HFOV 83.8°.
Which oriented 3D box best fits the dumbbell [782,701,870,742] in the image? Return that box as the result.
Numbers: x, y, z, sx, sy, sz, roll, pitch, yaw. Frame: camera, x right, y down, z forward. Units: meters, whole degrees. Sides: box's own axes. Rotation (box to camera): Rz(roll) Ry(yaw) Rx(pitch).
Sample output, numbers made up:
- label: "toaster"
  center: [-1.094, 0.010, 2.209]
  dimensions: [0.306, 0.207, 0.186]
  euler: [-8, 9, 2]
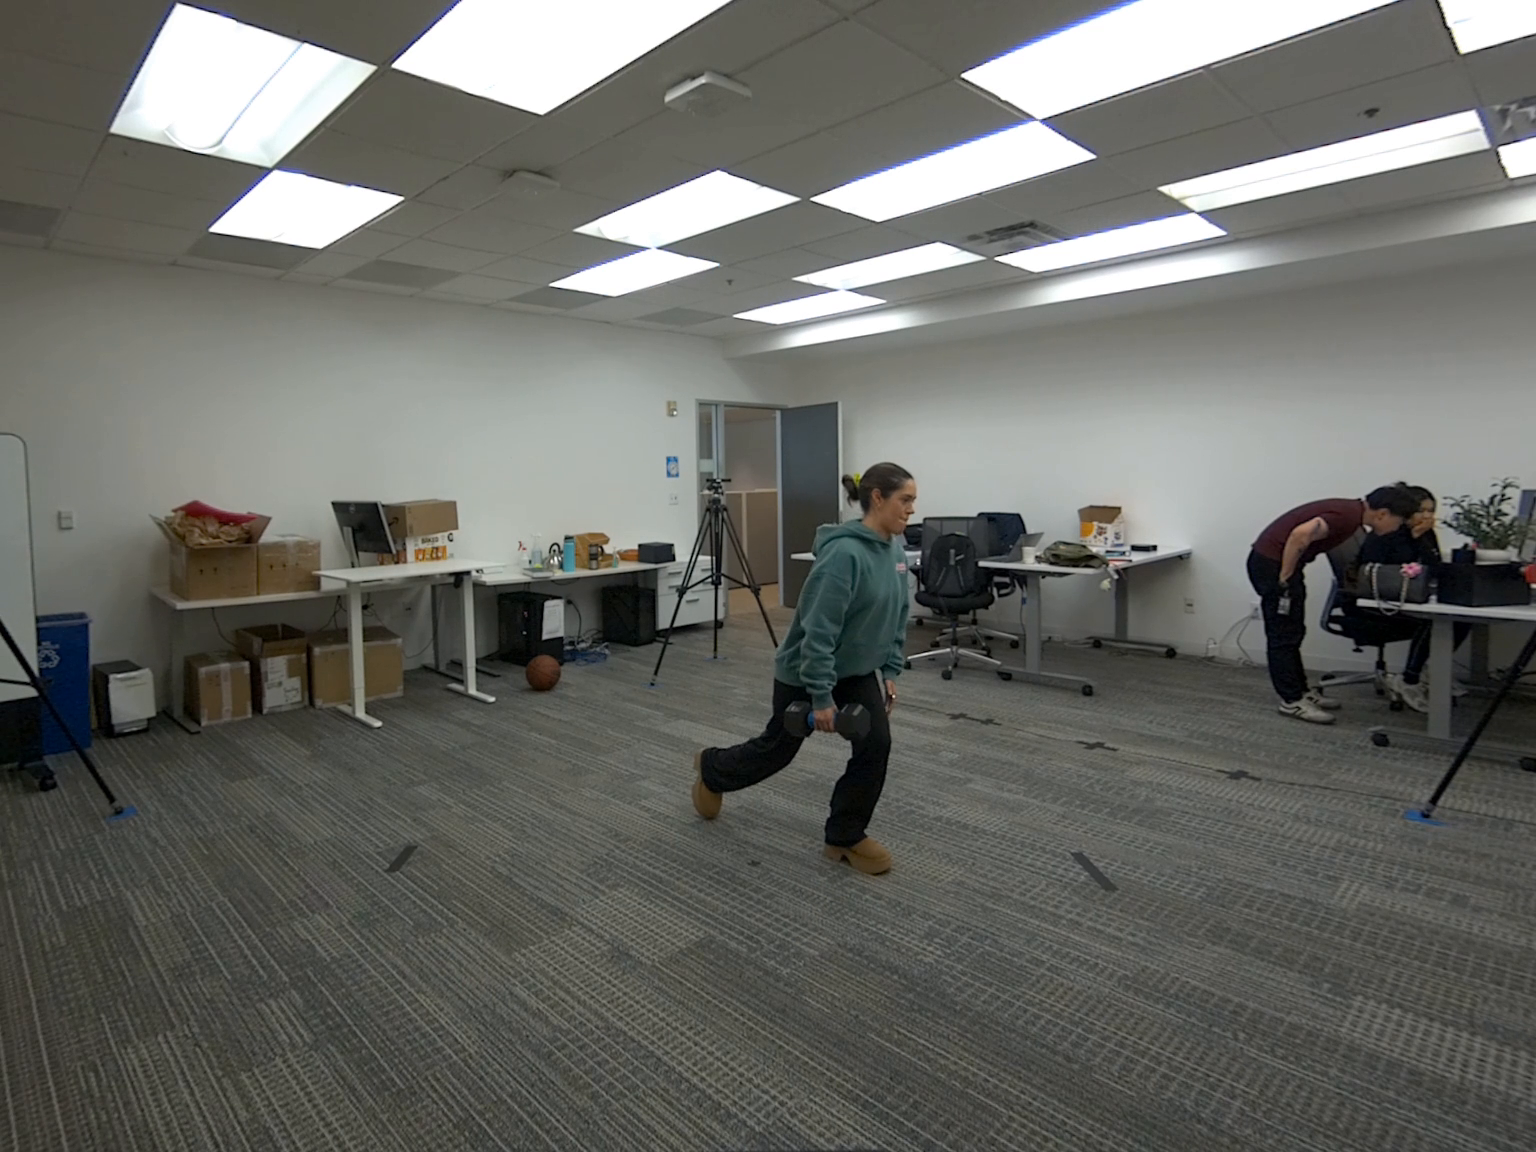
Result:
- label: "dumbbell"
  center: [0.198, 0.499, 2.918]
  dimensions: [0.301, 0.110, 0.118]
  euler: [-4, -36, 39]
